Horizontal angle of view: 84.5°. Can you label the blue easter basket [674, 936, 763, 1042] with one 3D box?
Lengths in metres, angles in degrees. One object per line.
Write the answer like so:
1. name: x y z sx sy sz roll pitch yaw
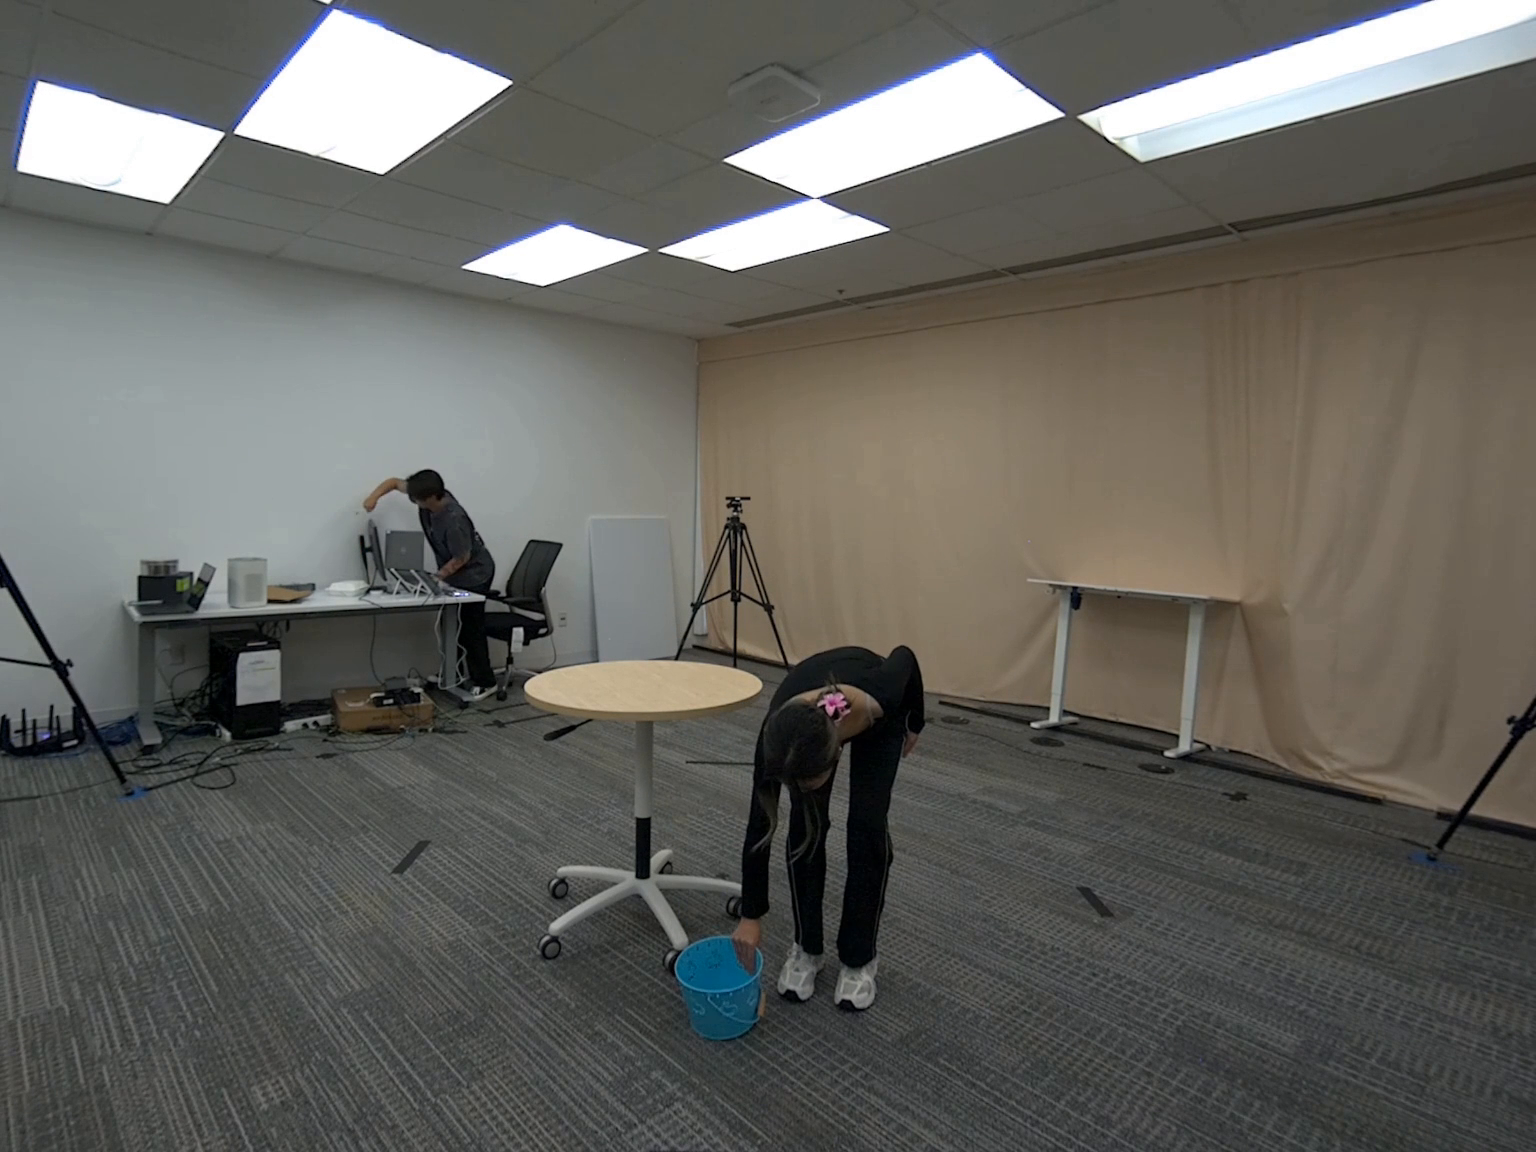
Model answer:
1. blue easter basket: -0.127 1.105 2.223 0.243 0.155 0.245 -4 10 -1
